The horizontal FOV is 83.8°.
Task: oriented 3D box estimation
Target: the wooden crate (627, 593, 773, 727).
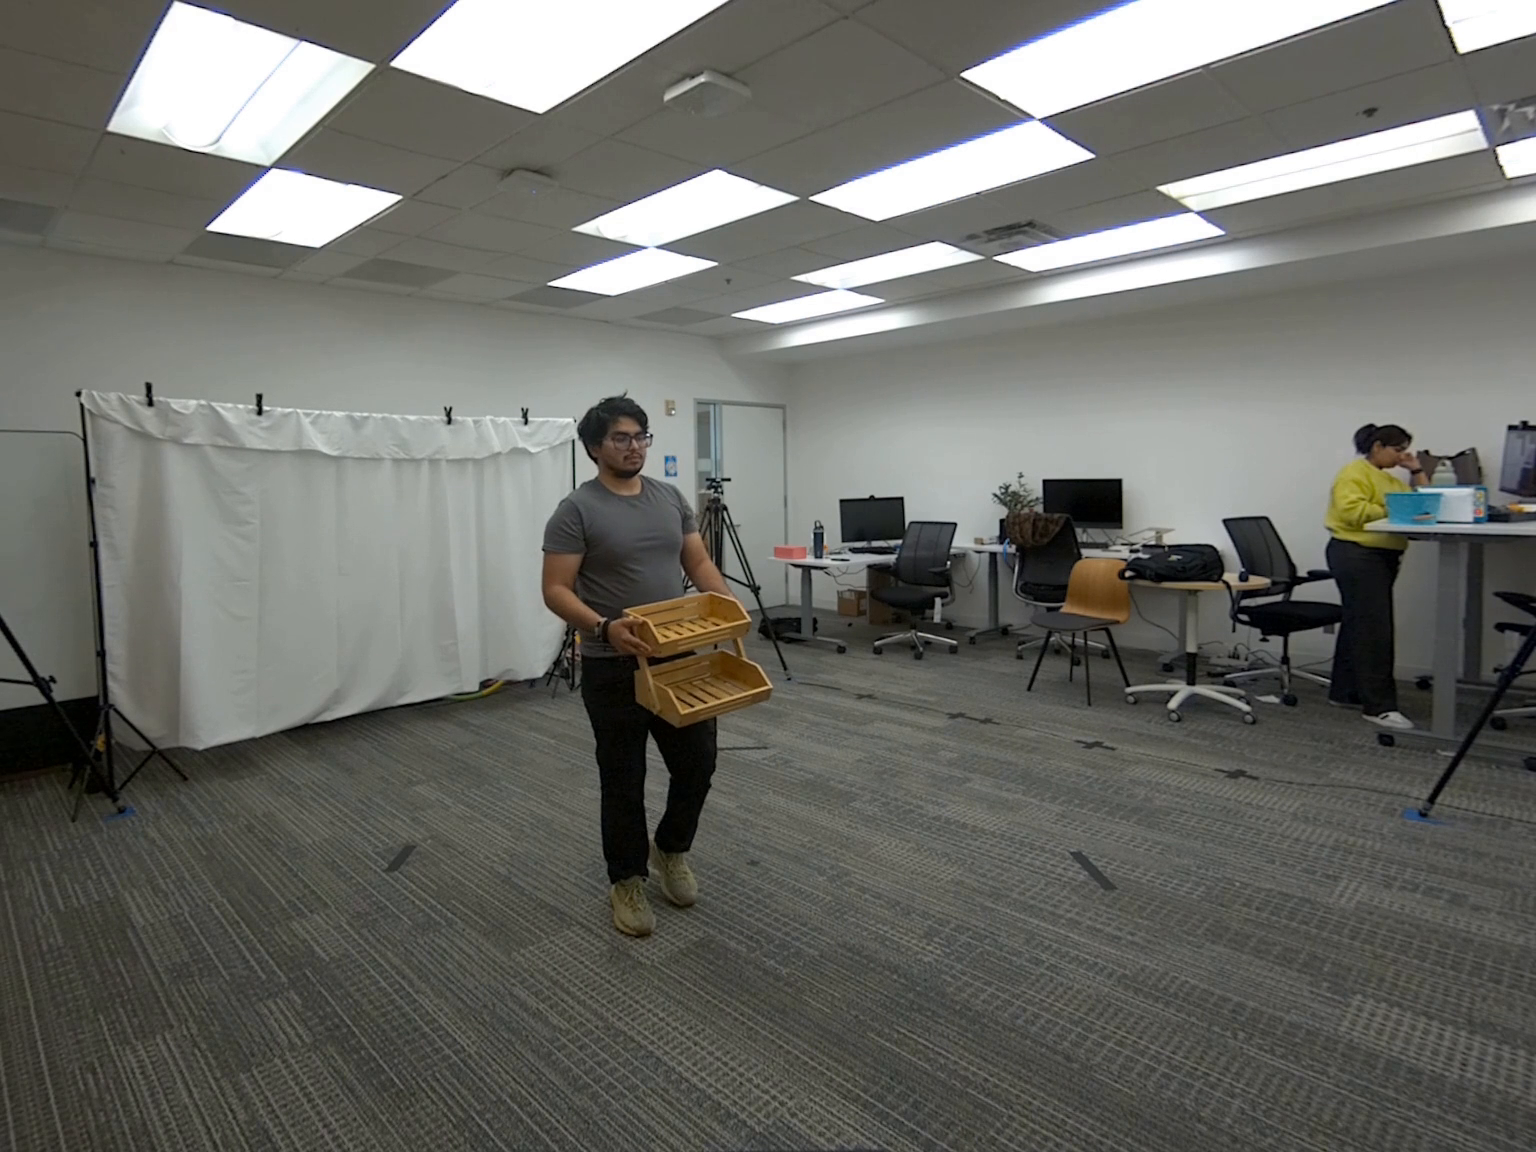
[{"bbox_3d":[-0.196,0.219,2.403,0.317,0.271,0.312,-9,13,-33],"label":"wooden crate"}]
